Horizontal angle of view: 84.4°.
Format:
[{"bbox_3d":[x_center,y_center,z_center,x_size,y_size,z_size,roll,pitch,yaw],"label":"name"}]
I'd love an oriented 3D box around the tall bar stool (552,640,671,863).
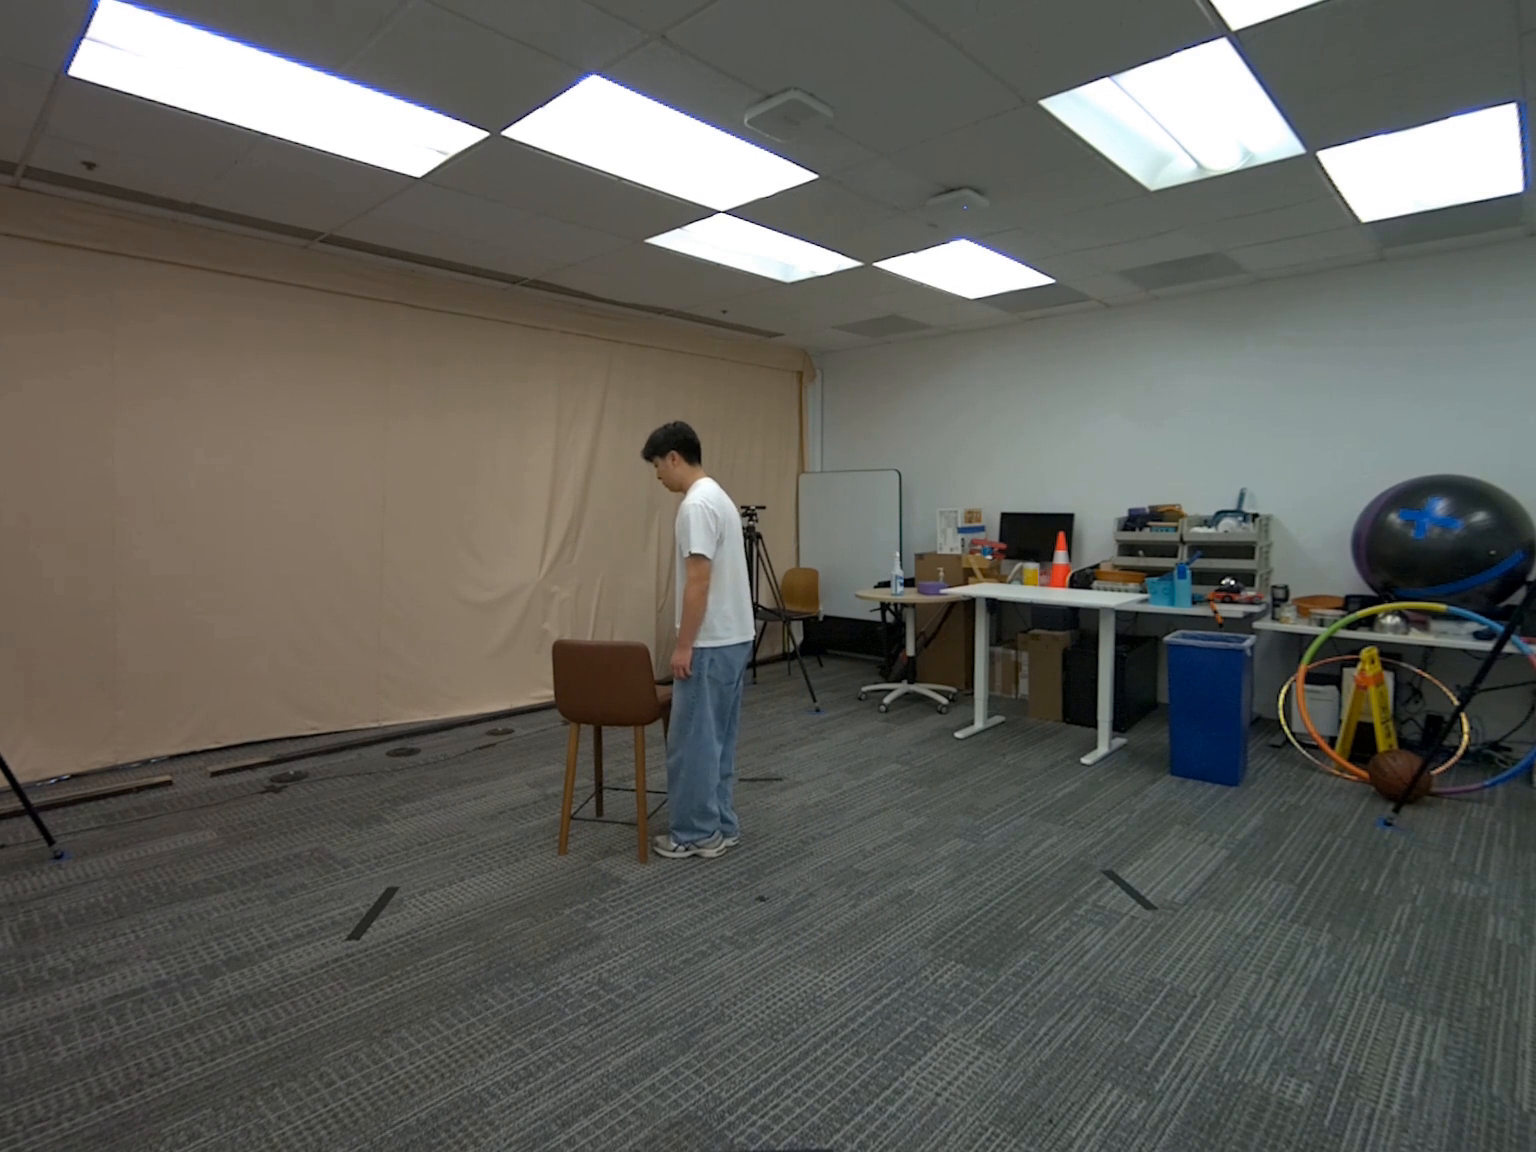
[{"bbox_3d":[-0.628,0.674,3.523,0.463,0.887,0.462,0,4,13],"label":"tall bar stool"}]
